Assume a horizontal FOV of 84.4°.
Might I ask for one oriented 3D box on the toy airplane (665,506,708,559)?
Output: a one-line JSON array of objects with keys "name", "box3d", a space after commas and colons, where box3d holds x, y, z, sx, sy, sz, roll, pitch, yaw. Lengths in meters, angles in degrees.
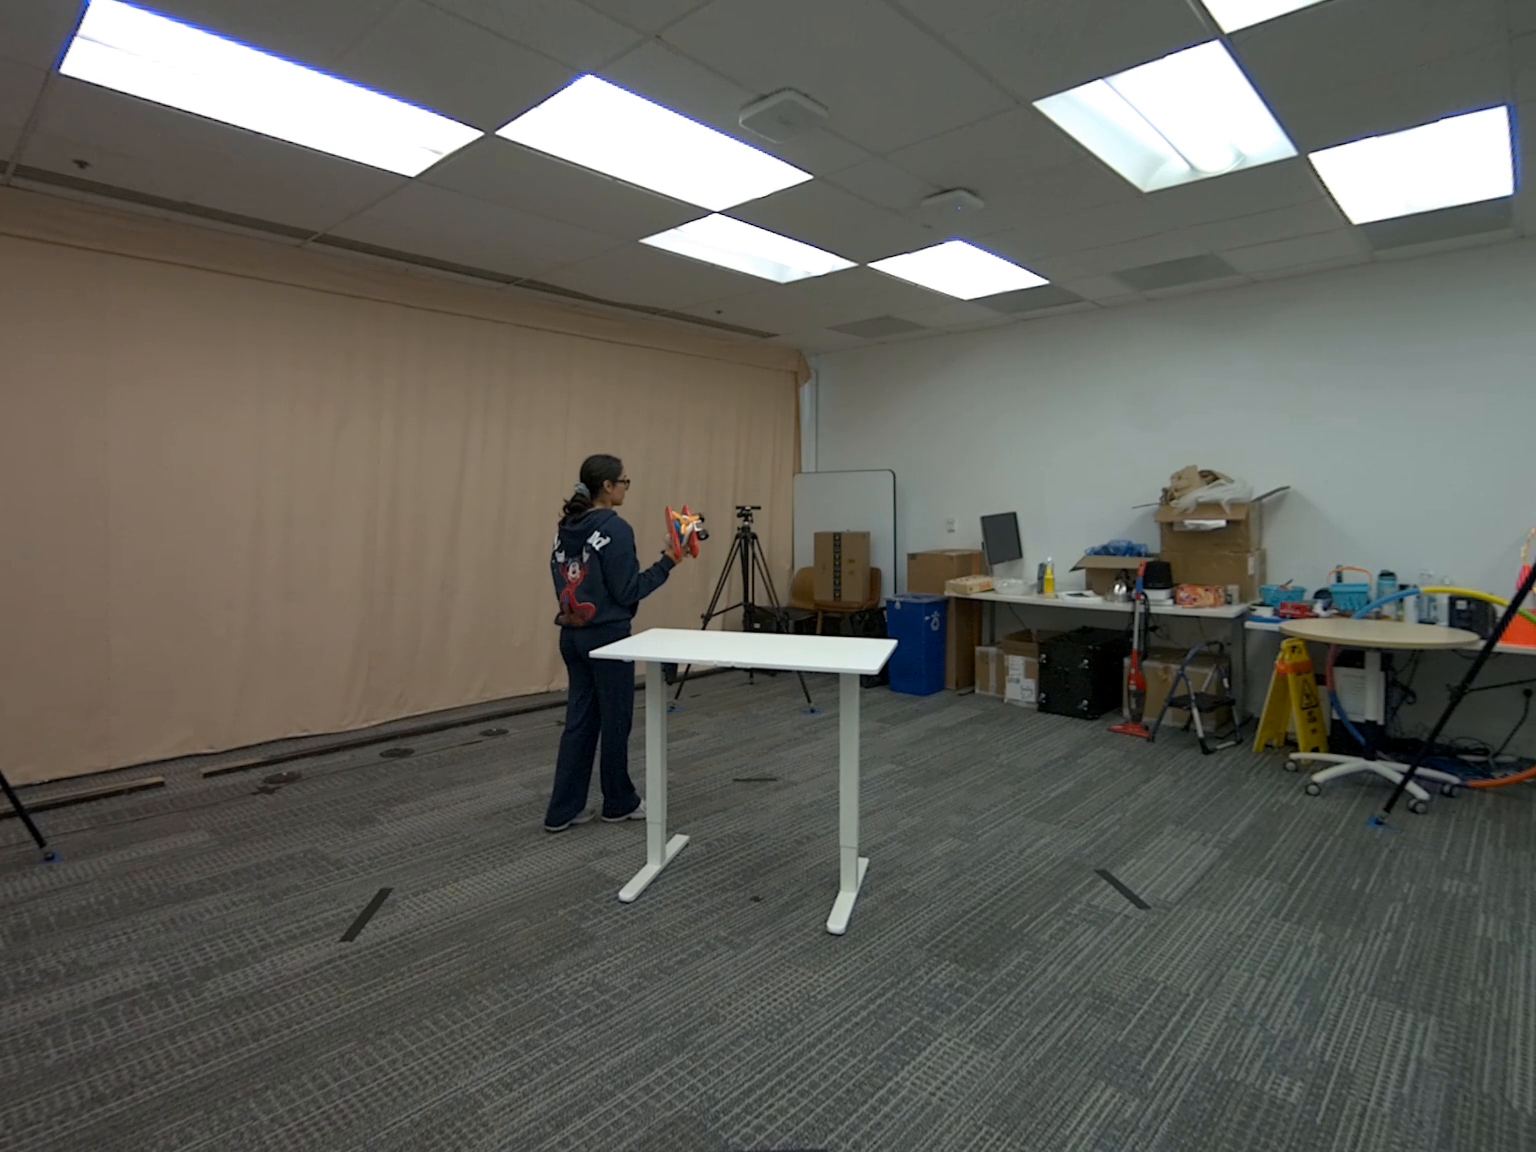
[{"name": "toy airplane", "box3d": [-0.353, -0.153, 3.635, 0.152, 0.257, 0.260, 3, 27, -30]}]
